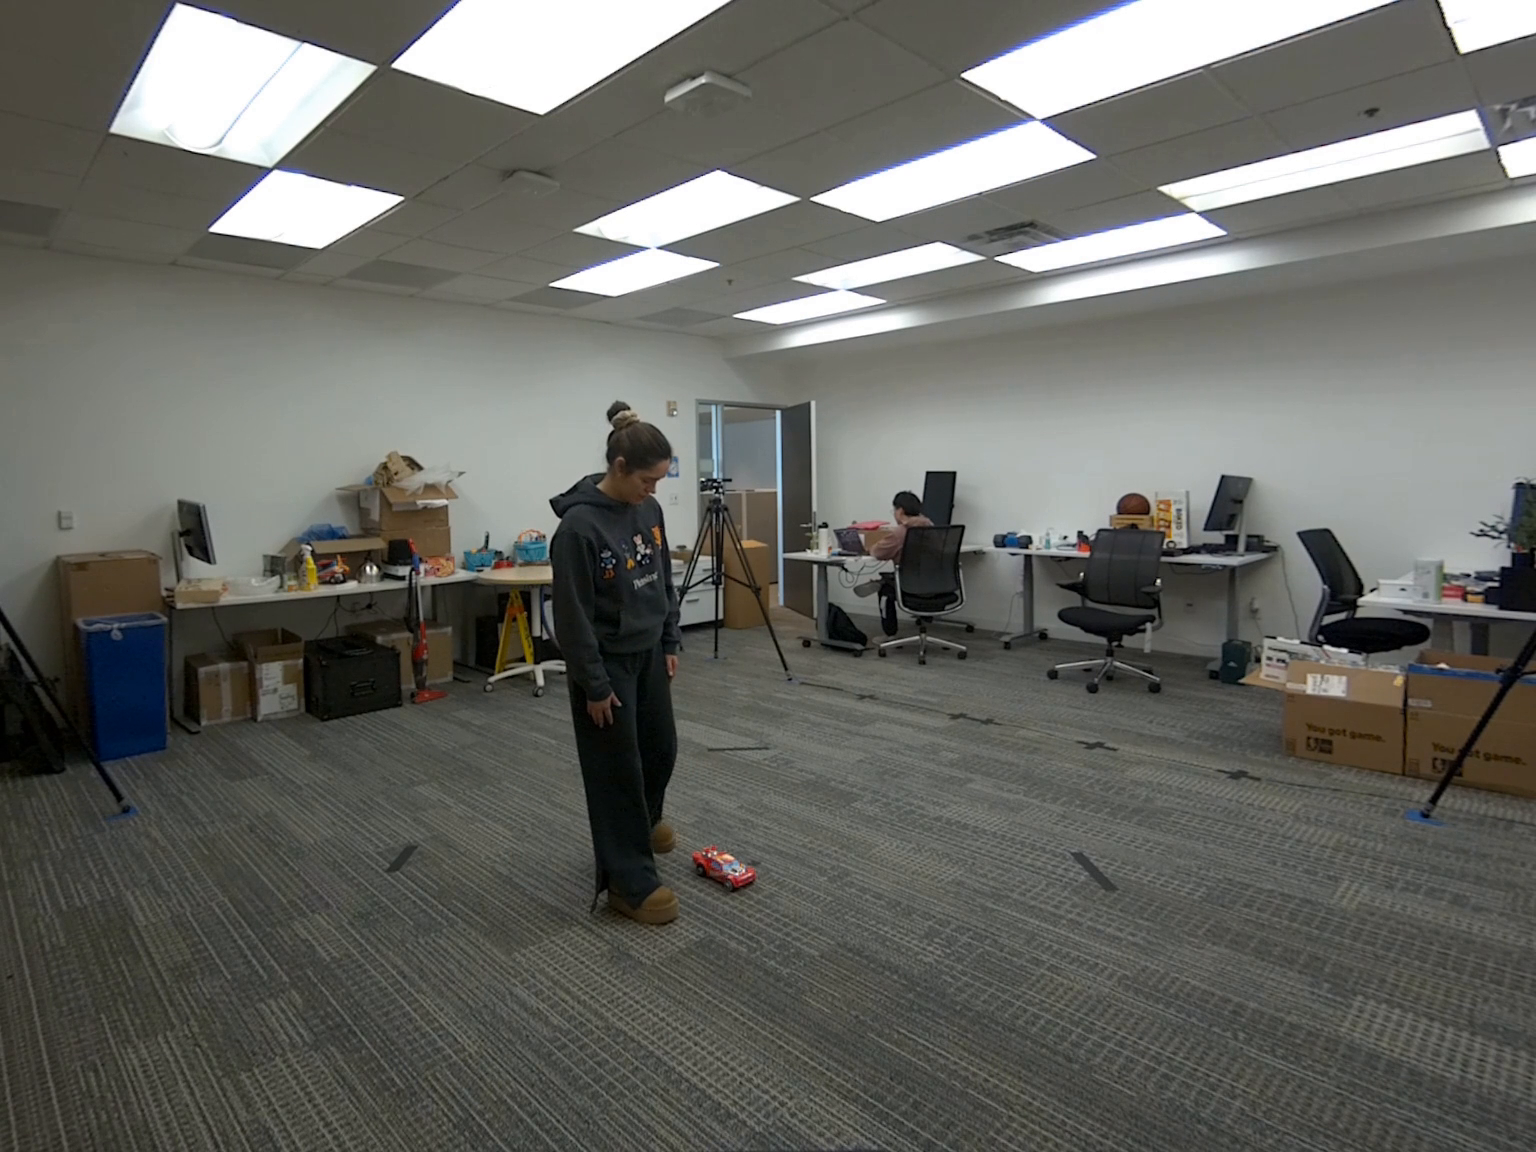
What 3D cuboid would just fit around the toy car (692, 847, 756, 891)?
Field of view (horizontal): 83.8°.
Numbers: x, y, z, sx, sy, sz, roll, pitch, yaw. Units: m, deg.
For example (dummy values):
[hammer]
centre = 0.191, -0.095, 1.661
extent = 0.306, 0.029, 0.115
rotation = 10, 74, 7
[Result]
[toy car]
centre = -0.160, 1.025, 2.984
extent = 0.127, 0.082, 0.264
rotation = -6, 19, -41
